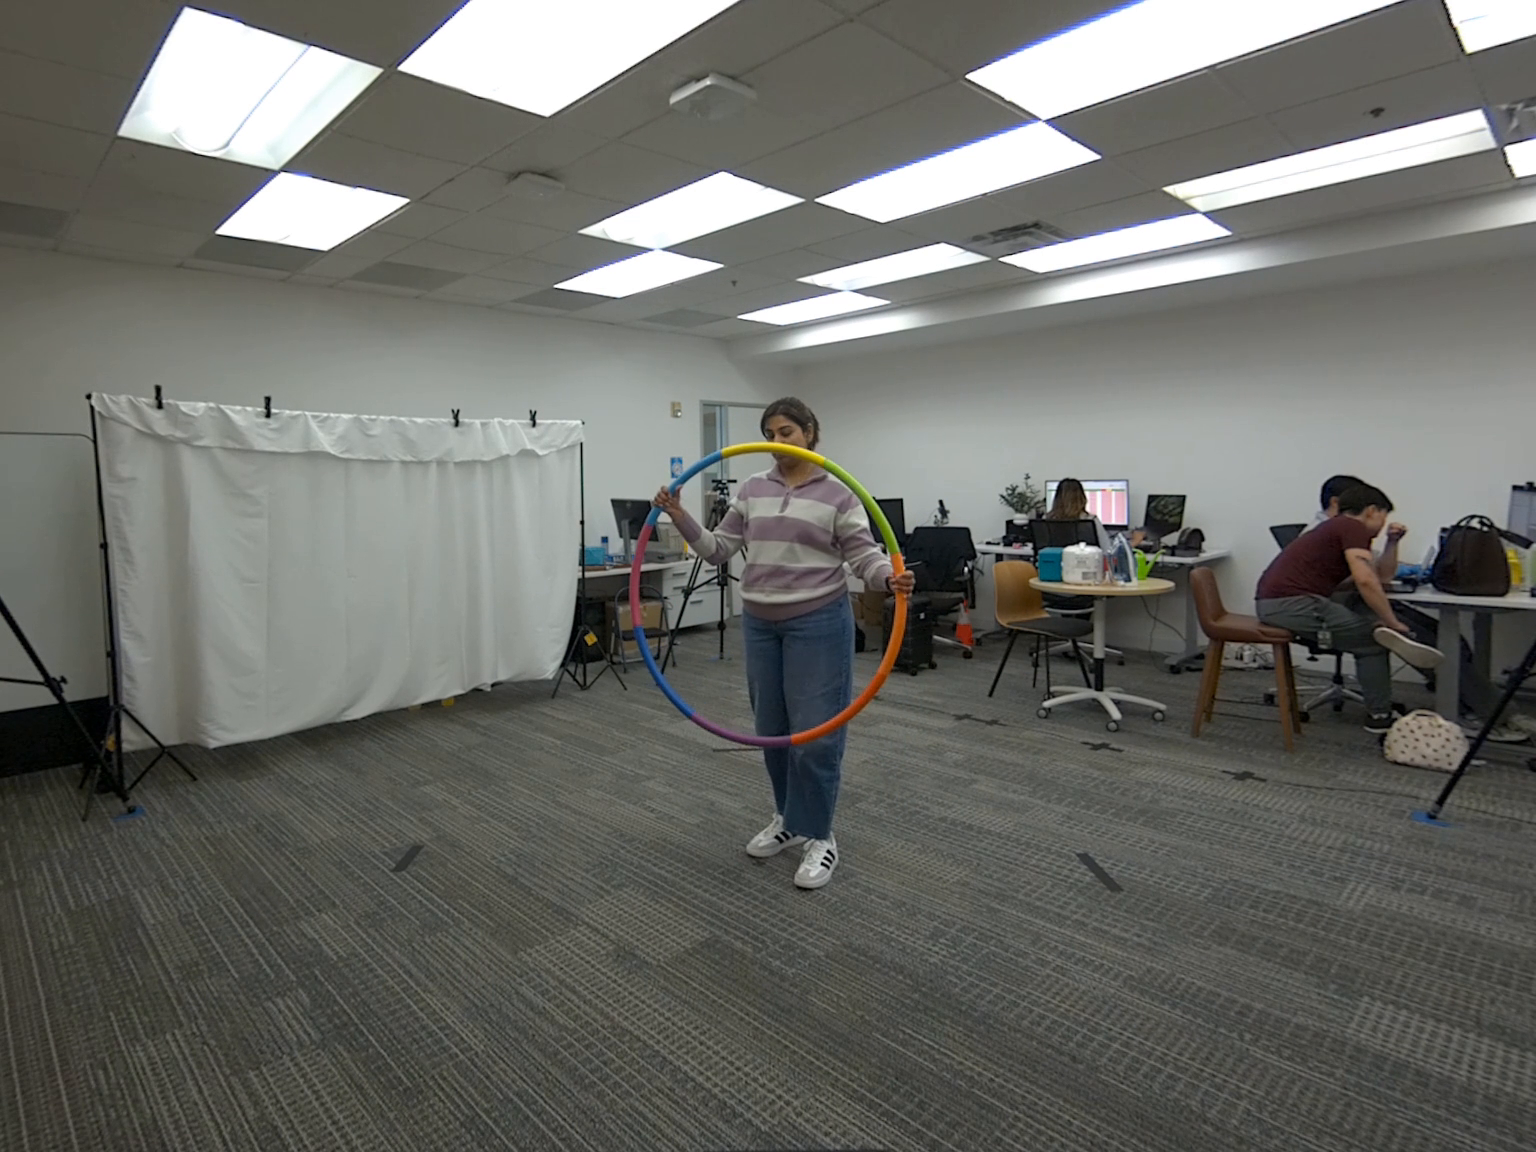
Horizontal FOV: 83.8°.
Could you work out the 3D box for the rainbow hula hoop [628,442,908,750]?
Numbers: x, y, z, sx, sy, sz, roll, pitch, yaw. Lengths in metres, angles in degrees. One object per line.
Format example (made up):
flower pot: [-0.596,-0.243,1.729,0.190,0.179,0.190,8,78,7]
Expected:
rainbow hula hoop: [-0.033,0.062,2.799,1.001,0.980,0.035,1,-2,26]
